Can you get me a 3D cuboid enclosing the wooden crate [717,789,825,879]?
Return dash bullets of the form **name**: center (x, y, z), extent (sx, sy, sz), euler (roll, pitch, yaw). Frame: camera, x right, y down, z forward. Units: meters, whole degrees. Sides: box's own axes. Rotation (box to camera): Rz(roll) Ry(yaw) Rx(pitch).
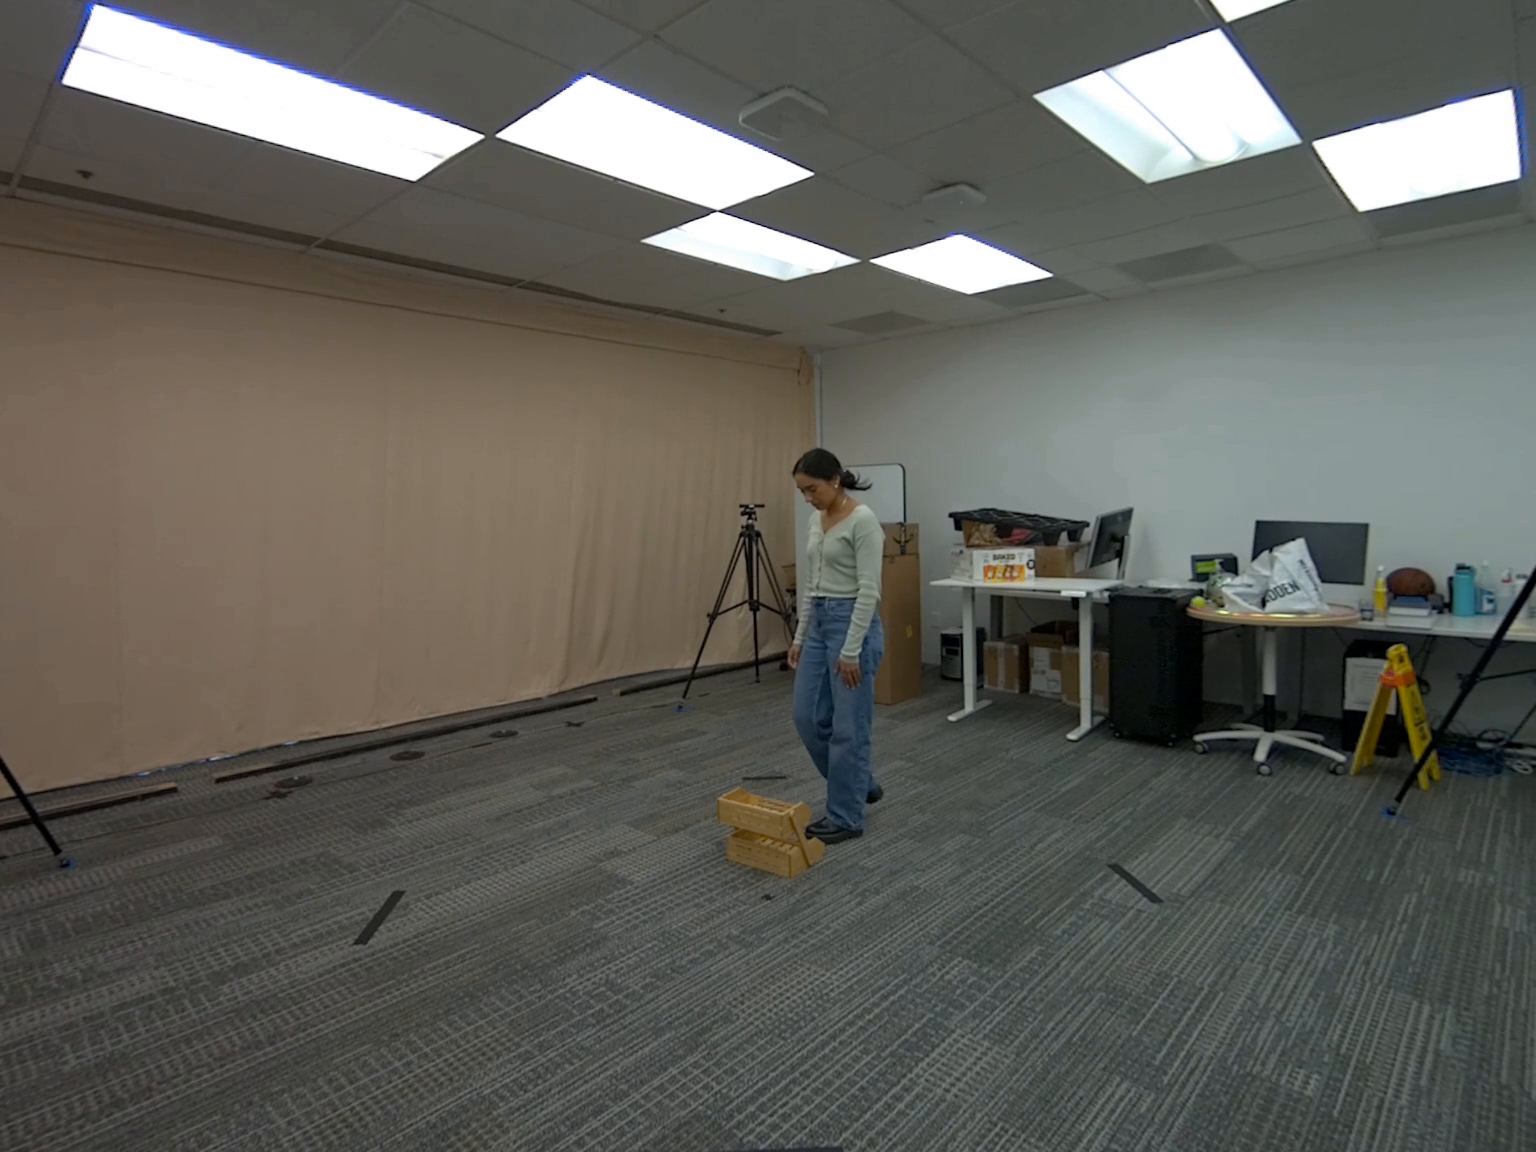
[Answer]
- **wooden crate**: center (0.016, 0.980, 3.287), extent (0.335, 0.272, 0.293), euler (2, 6, 35)
